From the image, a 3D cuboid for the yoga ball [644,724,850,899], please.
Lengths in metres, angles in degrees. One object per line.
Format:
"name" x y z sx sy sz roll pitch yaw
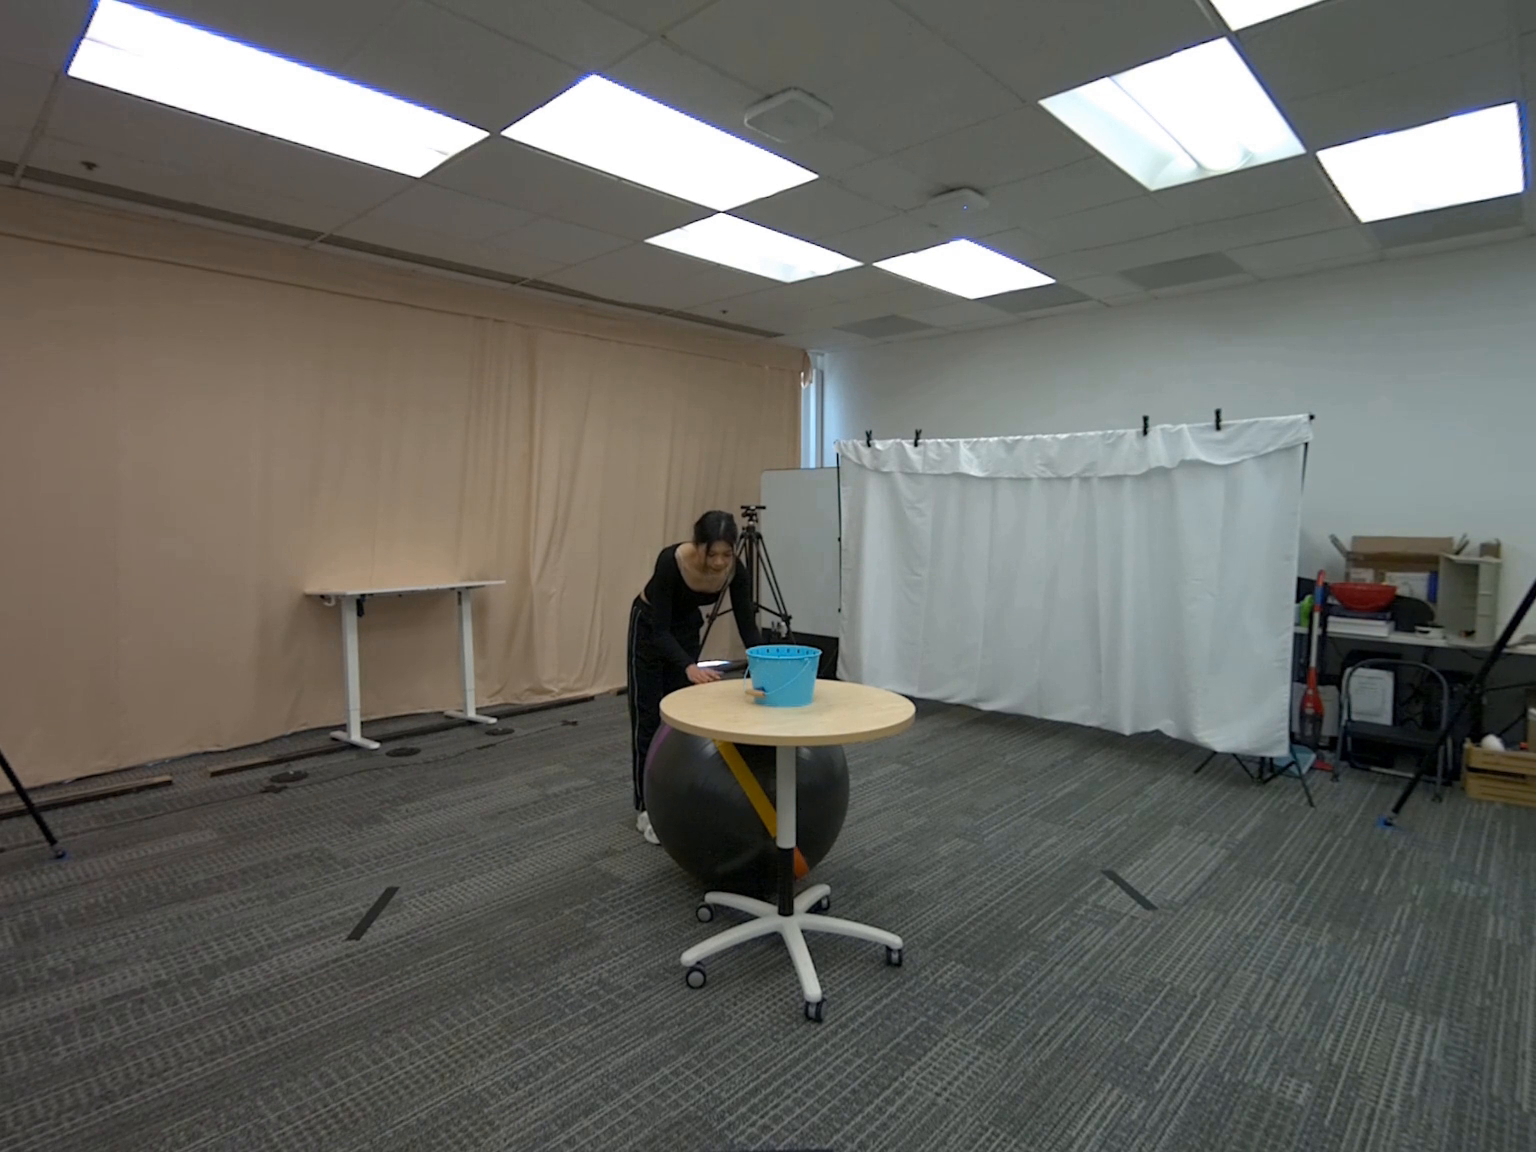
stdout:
"yoga ball" -0.080 0.766 3.115 0.757 0.756 0.760 0 4 -2
